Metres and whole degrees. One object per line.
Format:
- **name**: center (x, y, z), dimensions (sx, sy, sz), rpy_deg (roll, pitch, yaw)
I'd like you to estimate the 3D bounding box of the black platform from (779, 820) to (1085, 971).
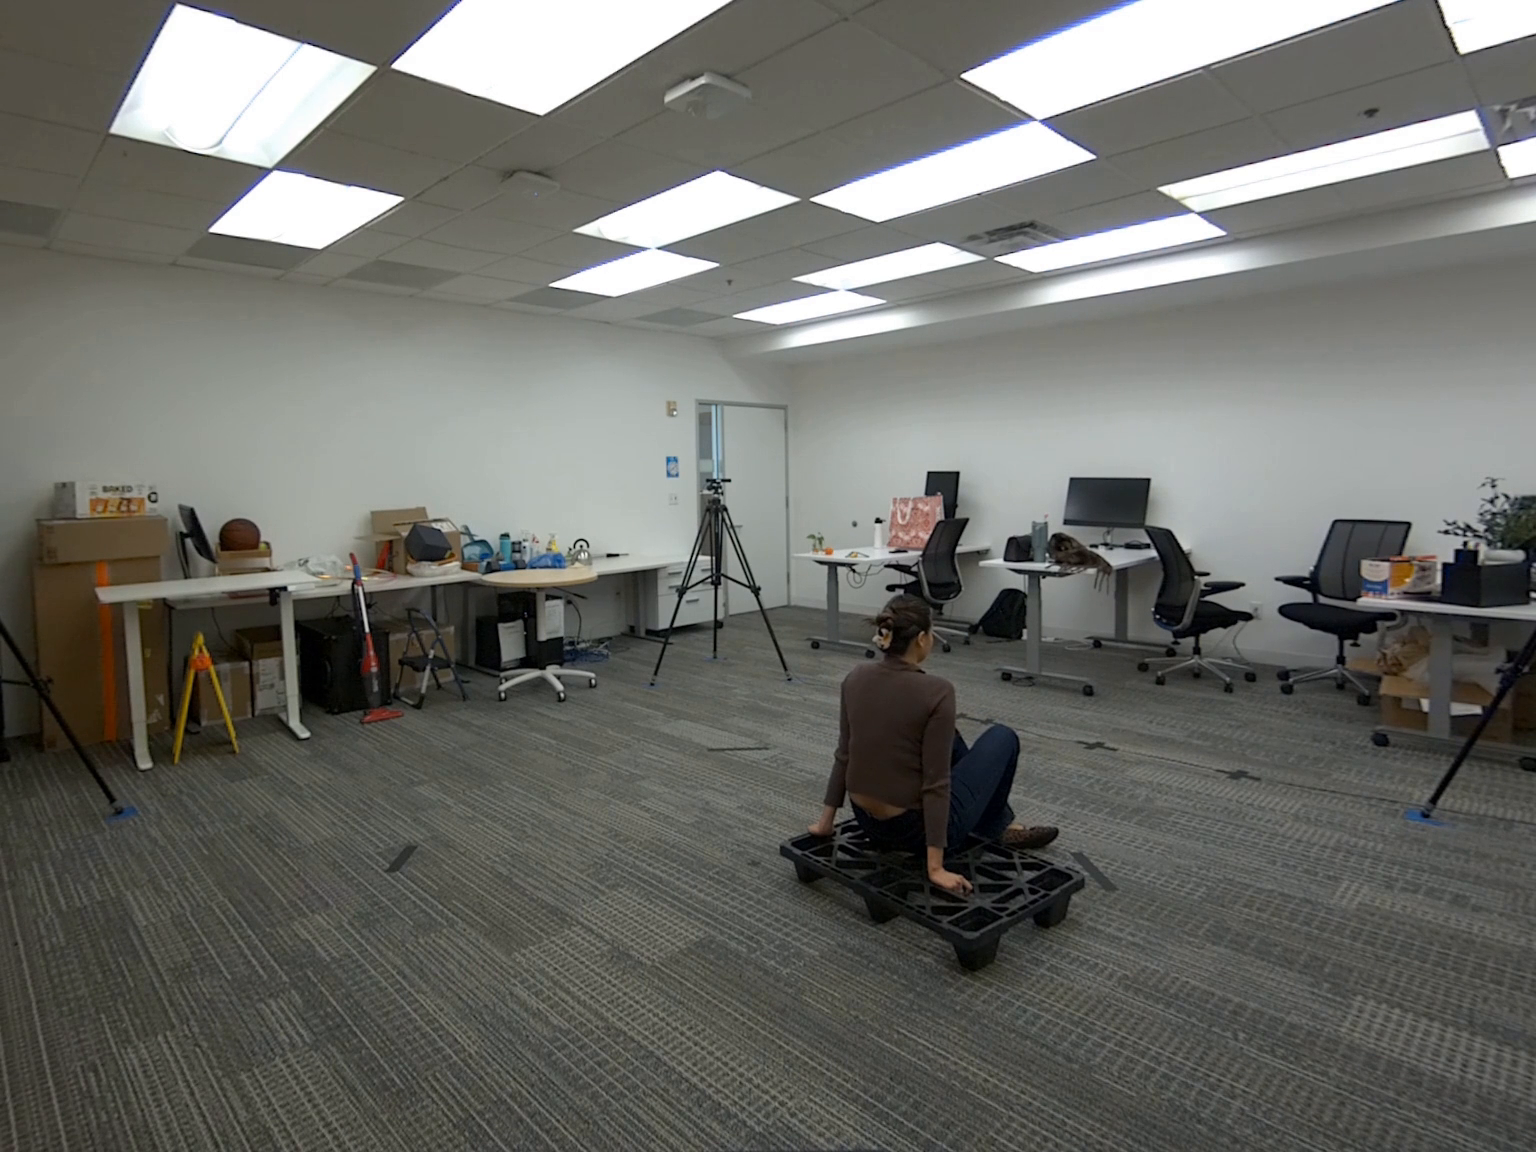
- **black platform**: center (0.519, 1.003, 2.819), dimensions (0.590, 0.143, 0.830), rpy_deg (-6, 7, -38)
